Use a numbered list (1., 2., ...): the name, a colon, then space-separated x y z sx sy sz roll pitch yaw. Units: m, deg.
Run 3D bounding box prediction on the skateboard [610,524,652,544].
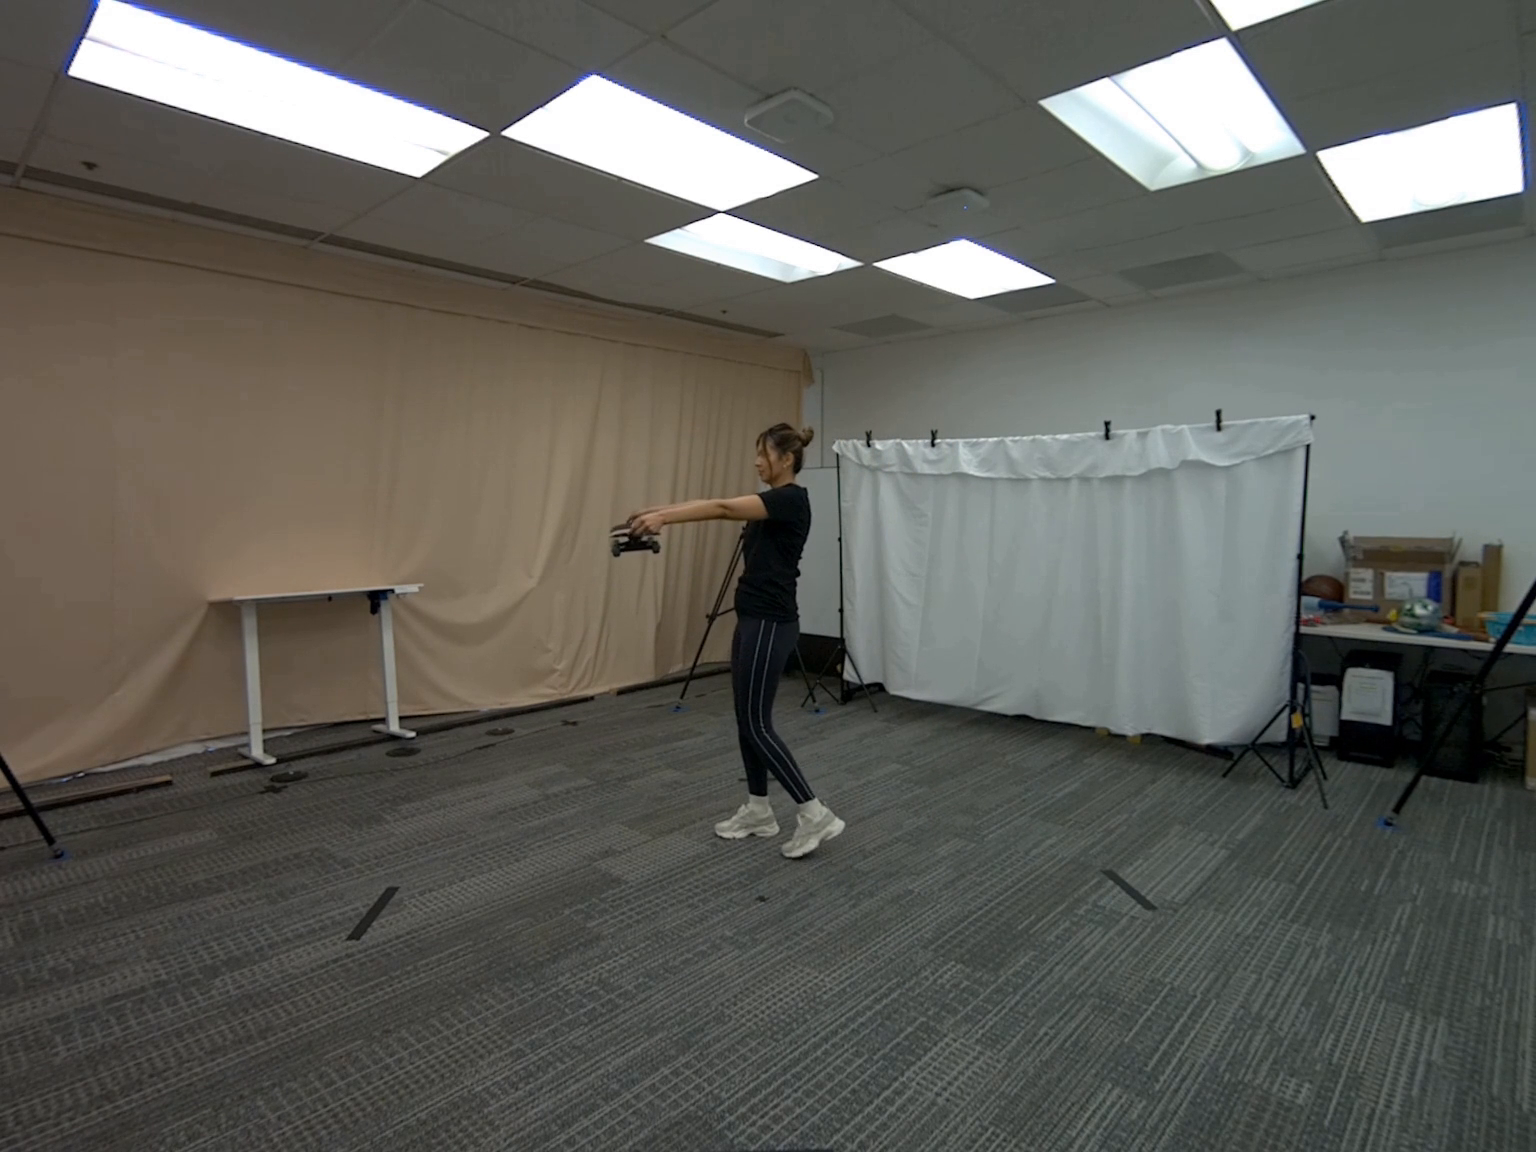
1. skateboard: -0.542 -0.147 3.447 0.191 0.110 0.795 -5 5 -11
